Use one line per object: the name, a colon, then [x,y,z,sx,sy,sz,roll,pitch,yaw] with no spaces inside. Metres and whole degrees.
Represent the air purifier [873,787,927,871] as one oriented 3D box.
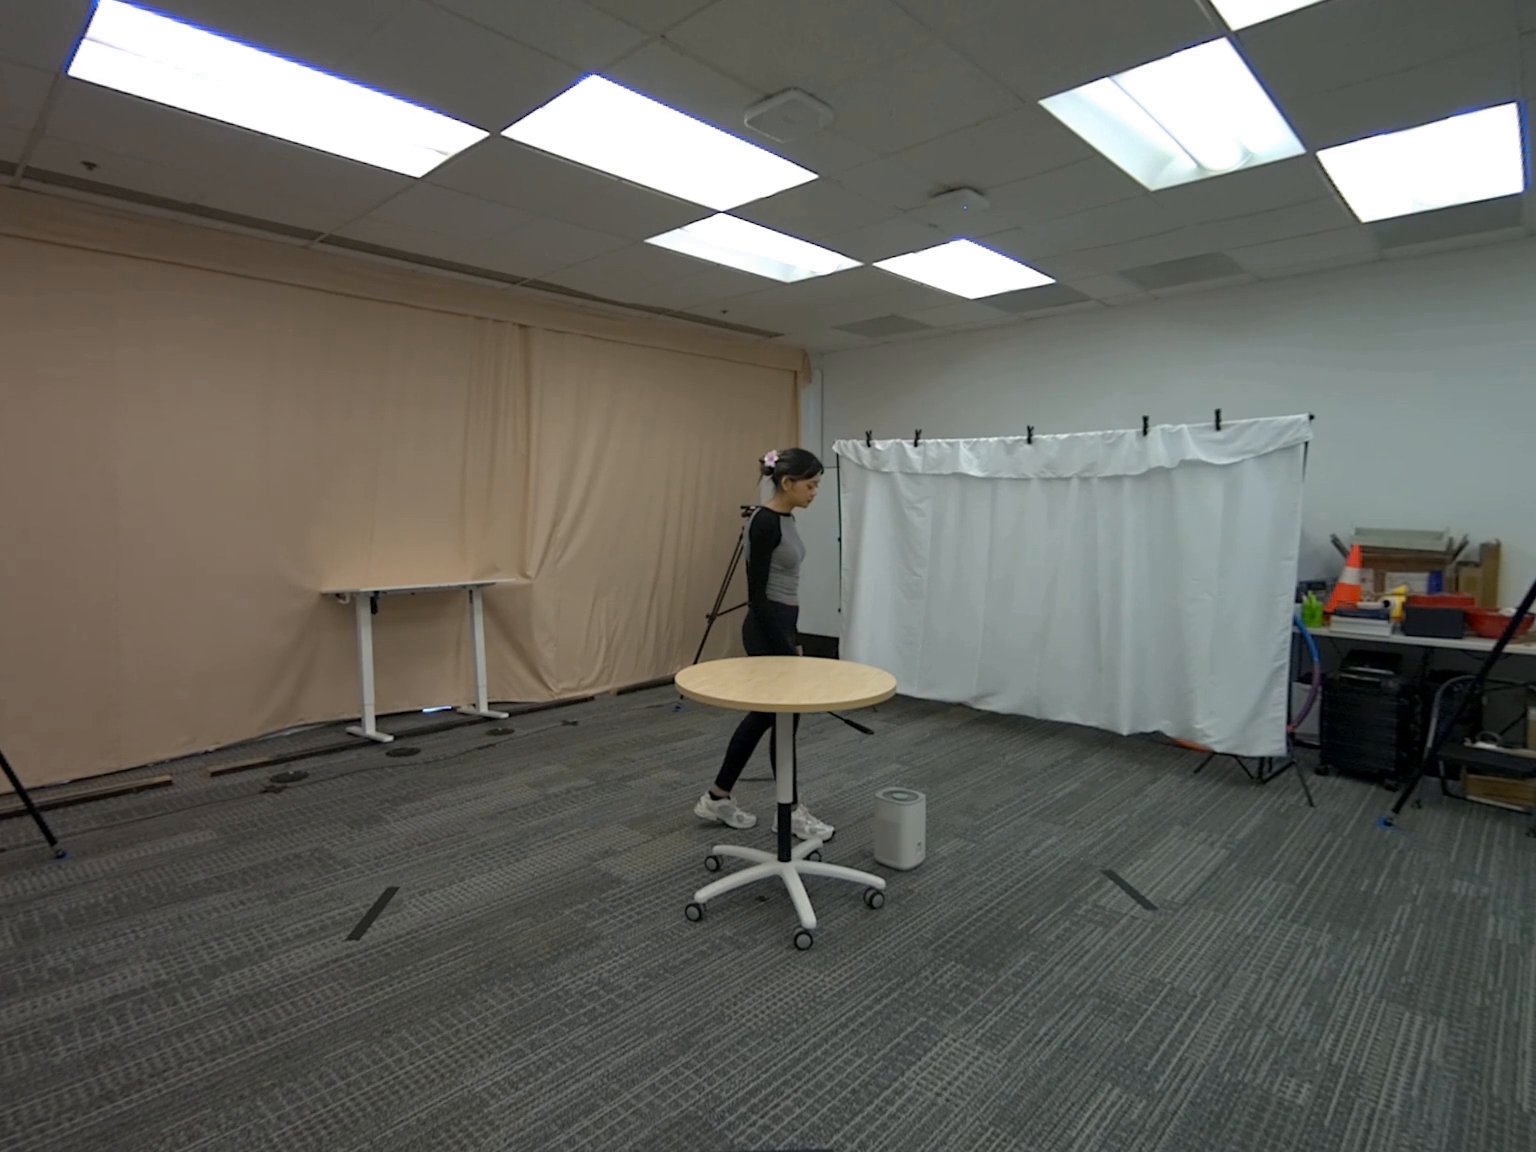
air purifier: [0.519,0.985,3.283,0.177,0.265,0.166,3,4,39]
